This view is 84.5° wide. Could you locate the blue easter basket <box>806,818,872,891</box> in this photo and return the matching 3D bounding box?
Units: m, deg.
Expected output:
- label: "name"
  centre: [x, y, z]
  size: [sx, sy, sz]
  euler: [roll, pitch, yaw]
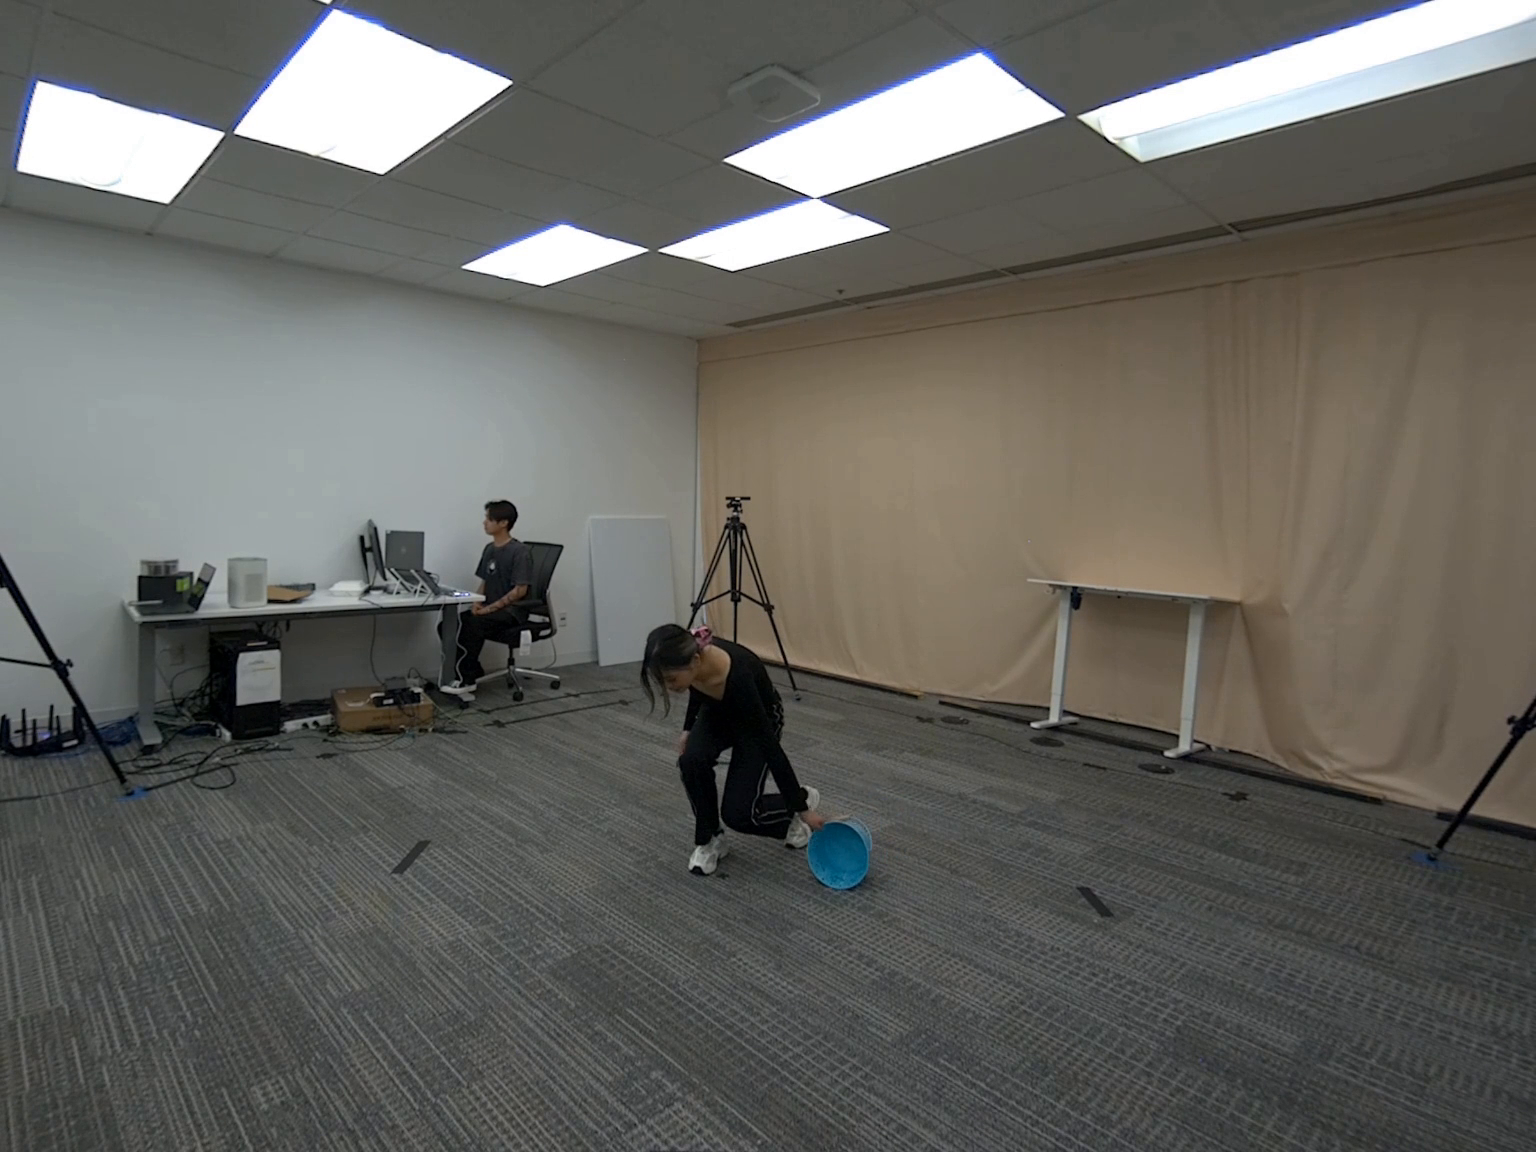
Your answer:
- label: "blue easter basket"
  centre: [0.270, 1.005, 3.087]
  size: [0.247, 0.244, 0.153]
  euler: [3, -4, 20]
